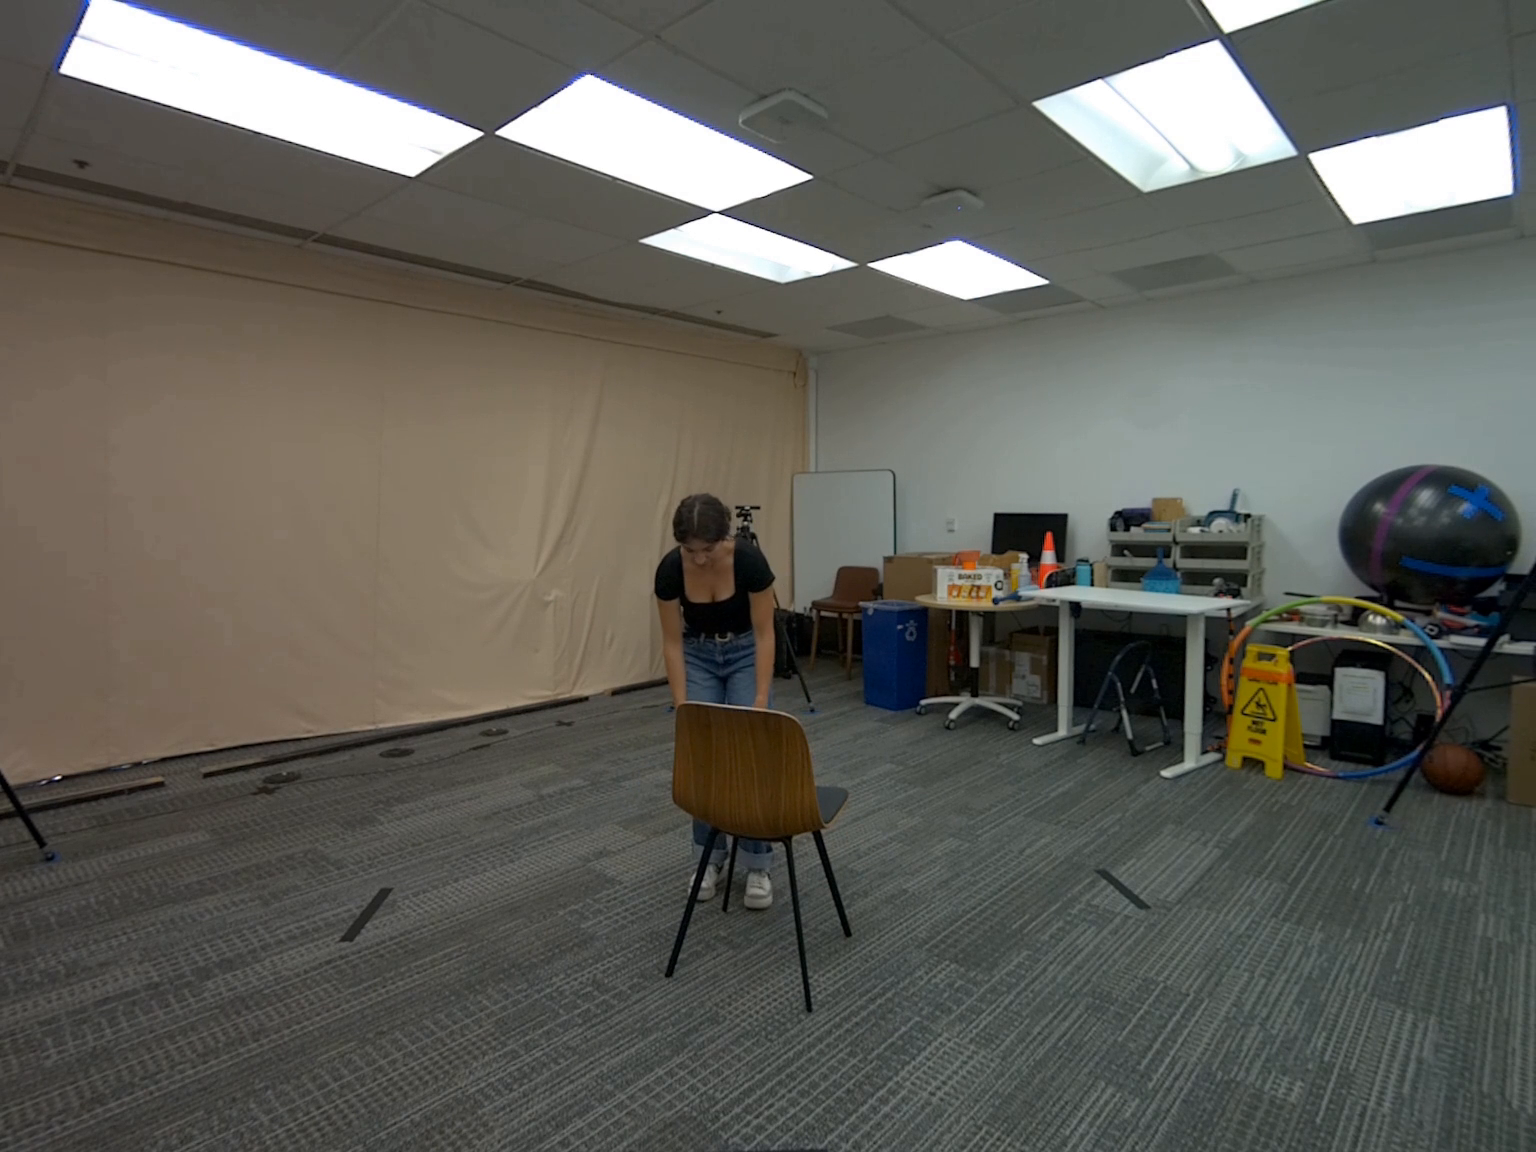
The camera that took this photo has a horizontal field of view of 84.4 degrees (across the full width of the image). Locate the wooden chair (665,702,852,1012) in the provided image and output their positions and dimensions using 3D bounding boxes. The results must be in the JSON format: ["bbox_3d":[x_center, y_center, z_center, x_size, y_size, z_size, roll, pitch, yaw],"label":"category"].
[{"bbox_3d":[-0.011,0.746,2.589,0.489,0.873,0.513,1,8,22],"label":"wooden chair"}]
